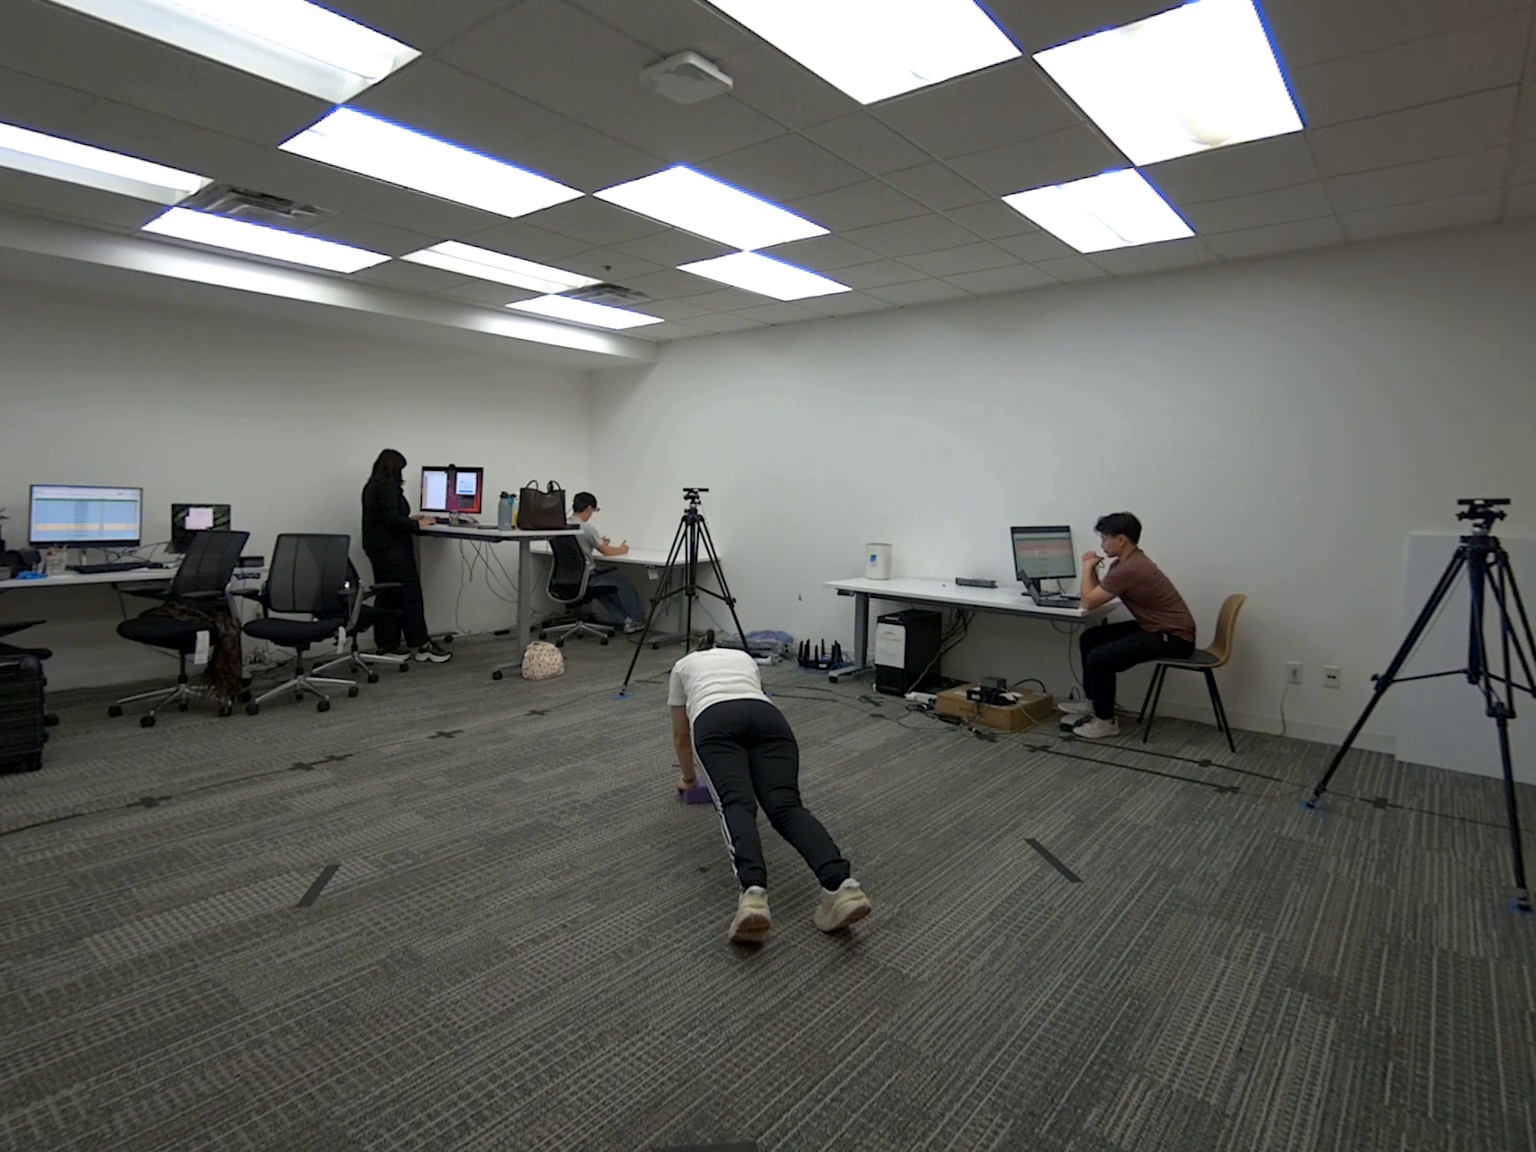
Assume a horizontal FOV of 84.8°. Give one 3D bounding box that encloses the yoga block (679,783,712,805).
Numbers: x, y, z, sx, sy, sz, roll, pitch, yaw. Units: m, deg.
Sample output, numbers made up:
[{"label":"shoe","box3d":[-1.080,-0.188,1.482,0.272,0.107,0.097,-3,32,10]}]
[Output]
[{"label":"yoga block","box3d":[-0.275,0.959,3.837,0.226,0.076,0.152,-2,5,-15]}]
